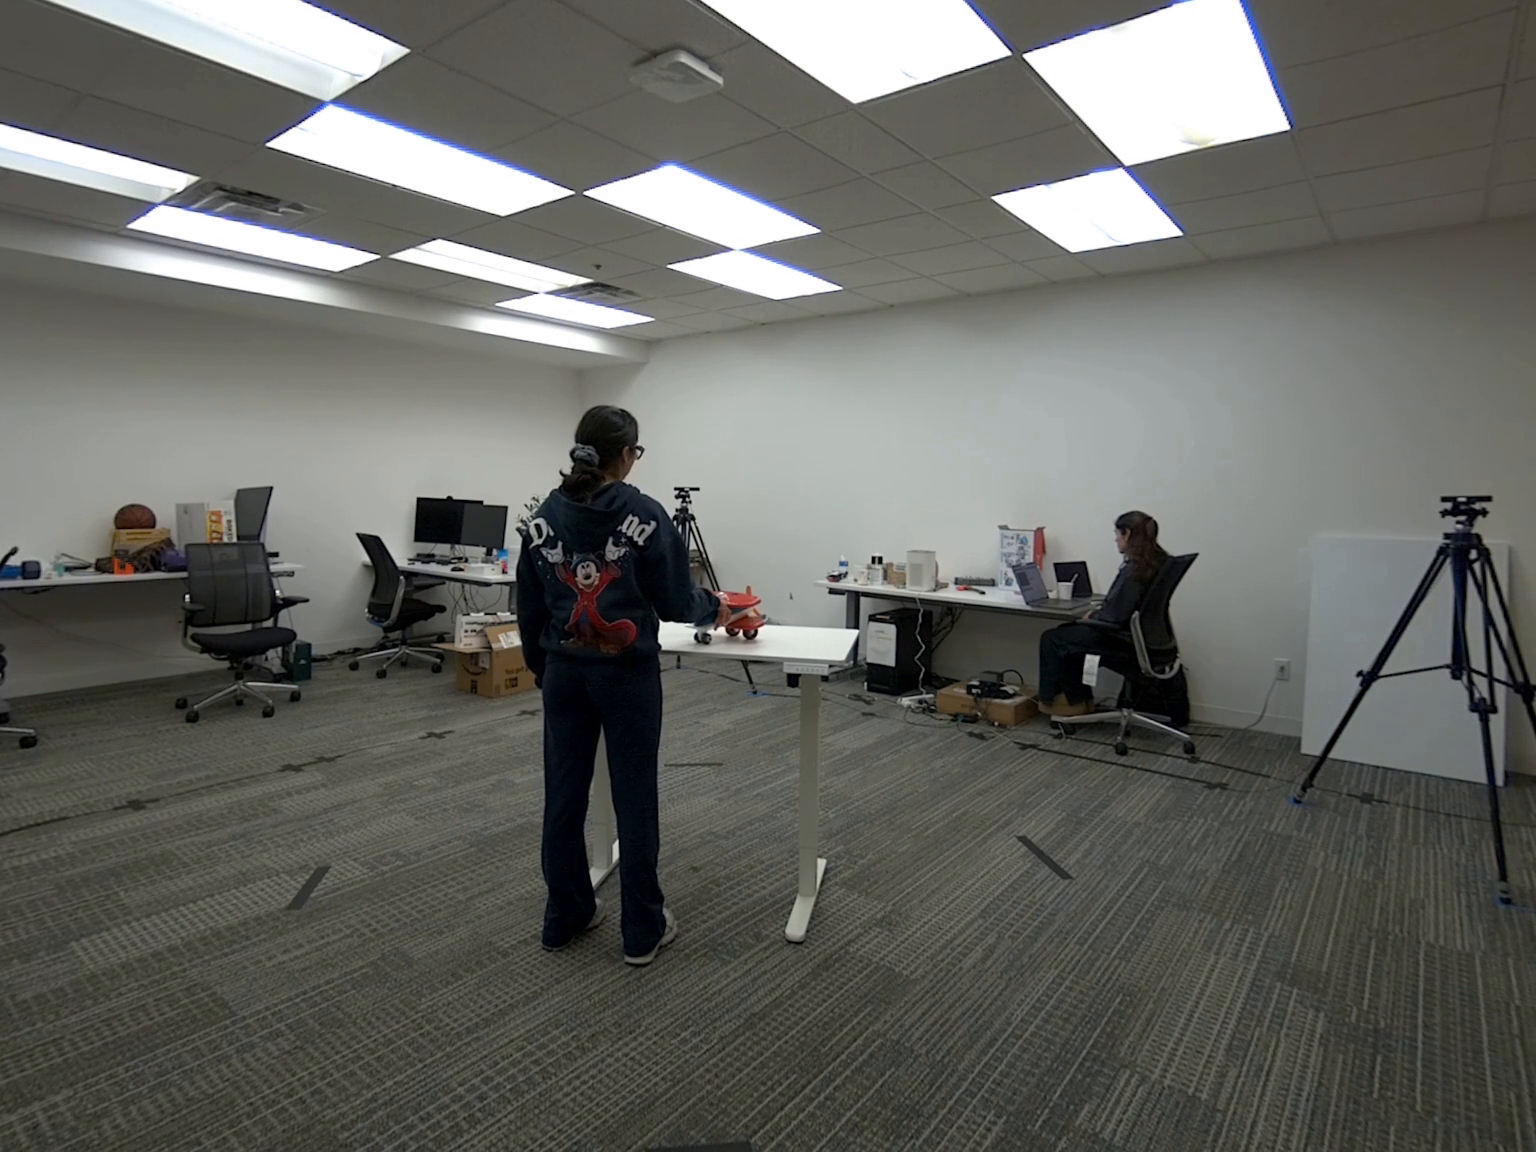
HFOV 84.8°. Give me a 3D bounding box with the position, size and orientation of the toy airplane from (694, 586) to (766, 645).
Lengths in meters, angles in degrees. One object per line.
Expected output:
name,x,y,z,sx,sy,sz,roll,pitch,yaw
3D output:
toy airplane,-0.134,0.138,2.834,0.256,0.156,0.255,2,4,17
